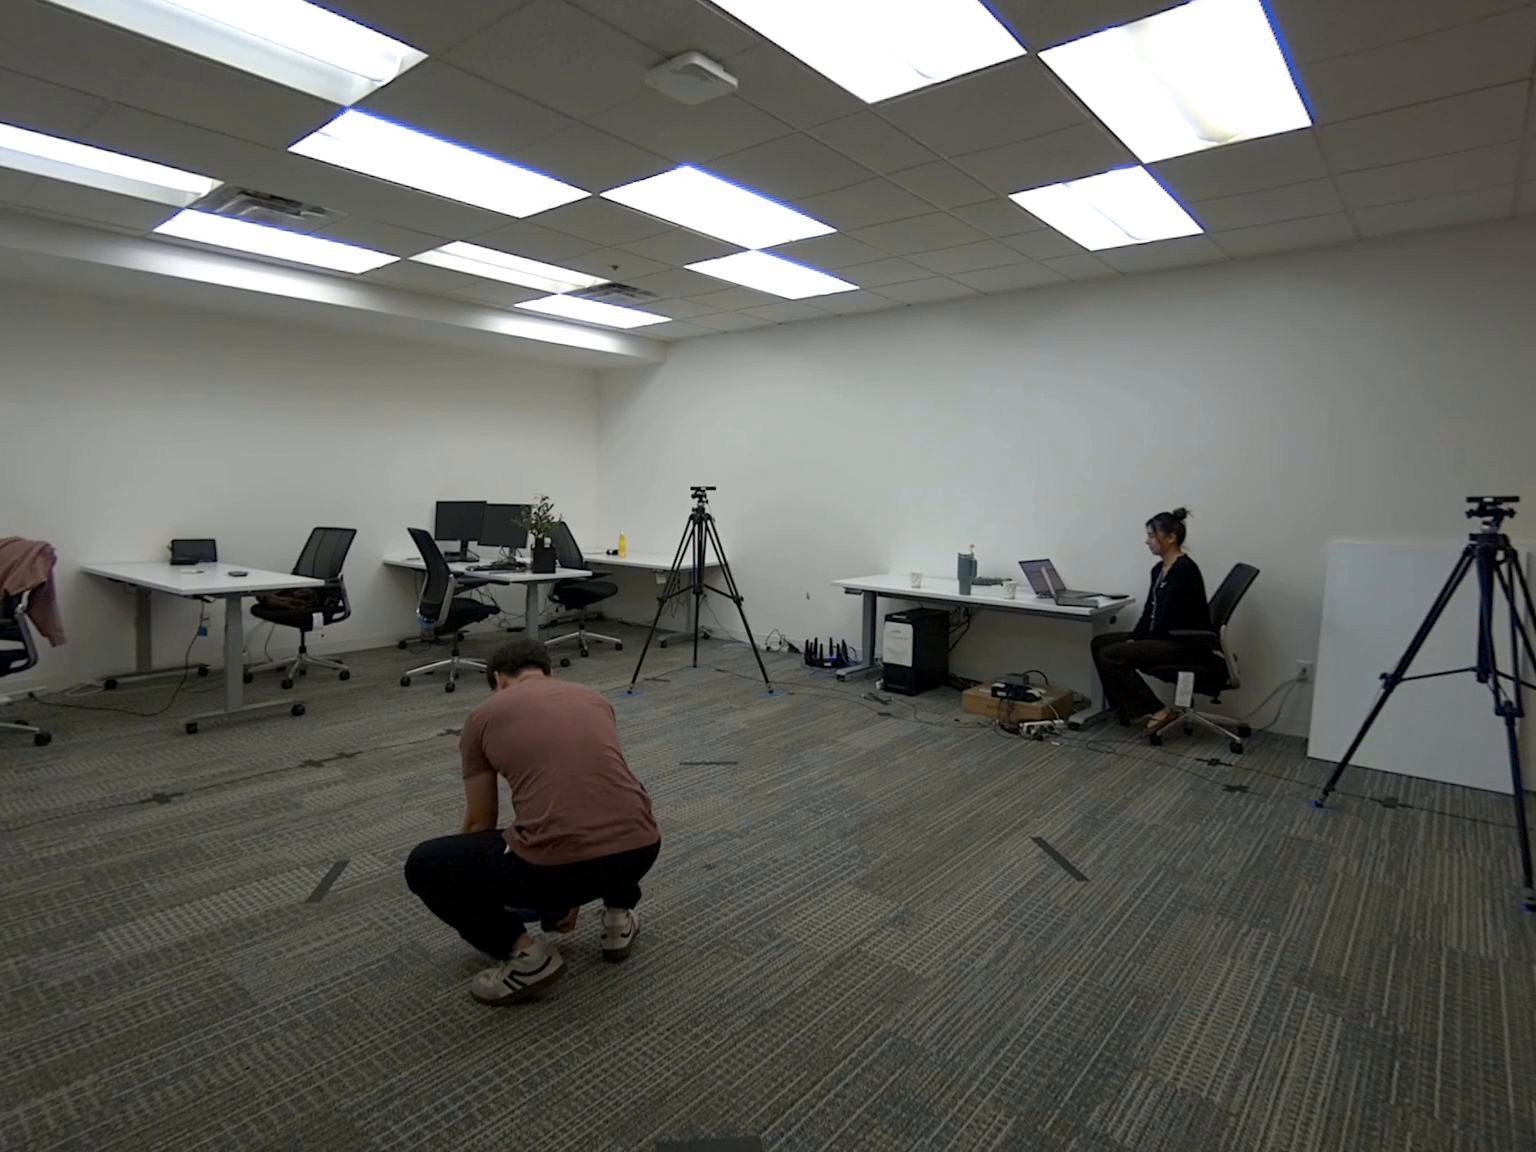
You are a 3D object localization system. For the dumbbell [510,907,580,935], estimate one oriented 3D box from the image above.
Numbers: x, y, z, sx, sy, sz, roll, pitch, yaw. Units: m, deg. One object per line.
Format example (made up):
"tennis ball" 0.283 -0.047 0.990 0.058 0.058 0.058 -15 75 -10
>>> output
"dumbbell" -0.750 0.998 2.551 0.288 0.107 0.127 1 22 -16
